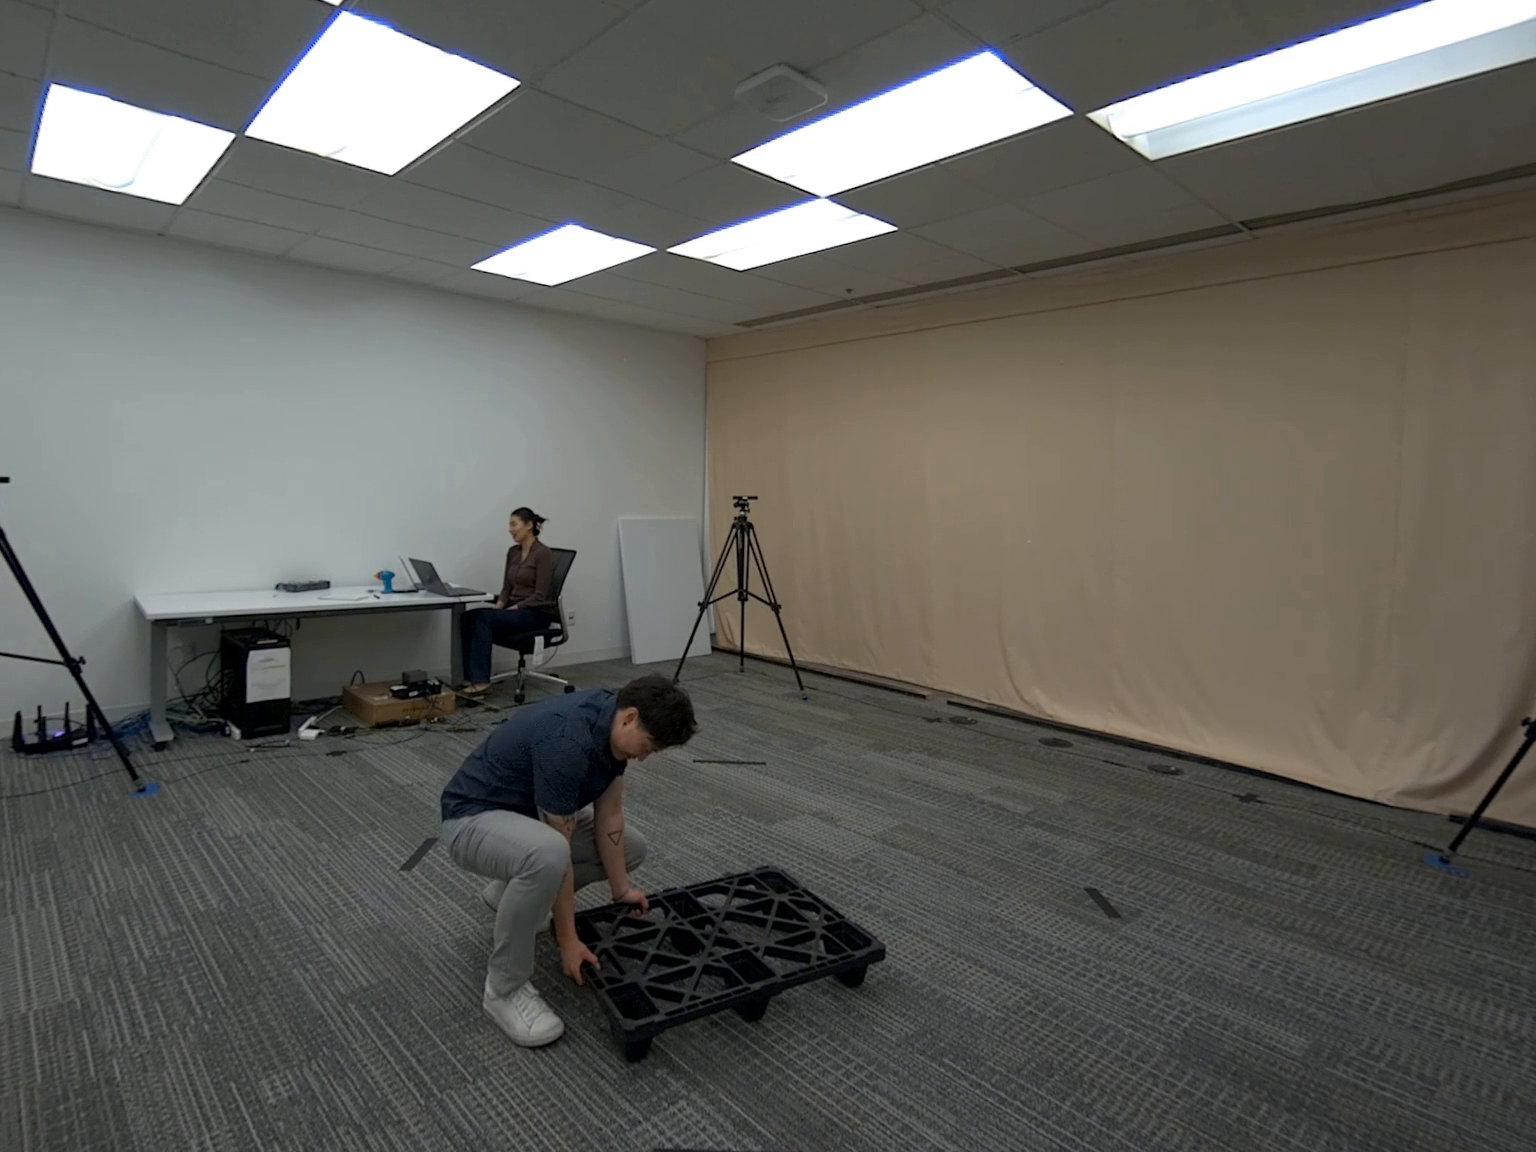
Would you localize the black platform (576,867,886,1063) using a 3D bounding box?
[{"bbox_3d":[-0.155,1.097,2.434,0.789,0.143,0.620,-3,7,-31],"label":"black platform"}]
